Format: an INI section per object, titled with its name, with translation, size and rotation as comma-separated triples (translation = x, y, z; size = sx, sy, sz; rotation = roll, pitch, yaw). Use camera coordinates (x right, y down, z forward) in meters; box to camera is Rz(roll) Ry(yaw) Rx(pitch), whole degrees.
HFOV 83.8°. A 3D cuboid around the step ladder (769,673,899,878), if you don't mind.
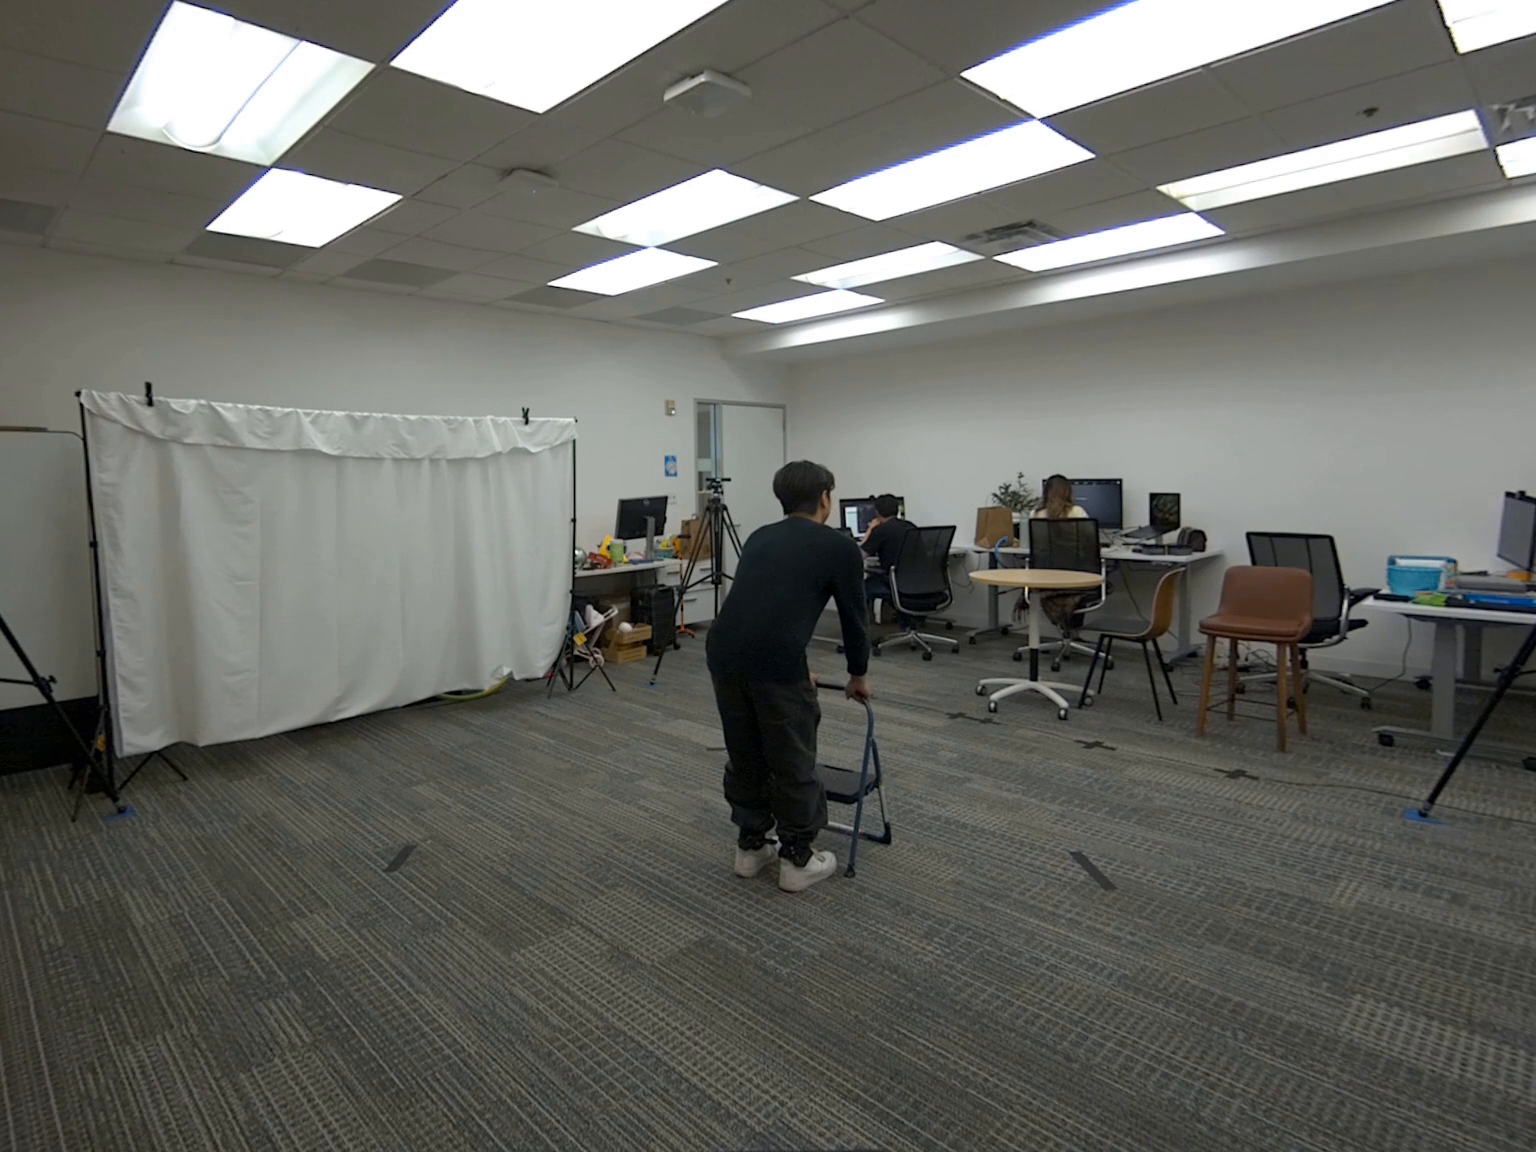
[step ladder]
translation = 0.210, 0.715, 3.223
size = 0.443, 0.604, 0.341
rotation = 2, 5, 35
